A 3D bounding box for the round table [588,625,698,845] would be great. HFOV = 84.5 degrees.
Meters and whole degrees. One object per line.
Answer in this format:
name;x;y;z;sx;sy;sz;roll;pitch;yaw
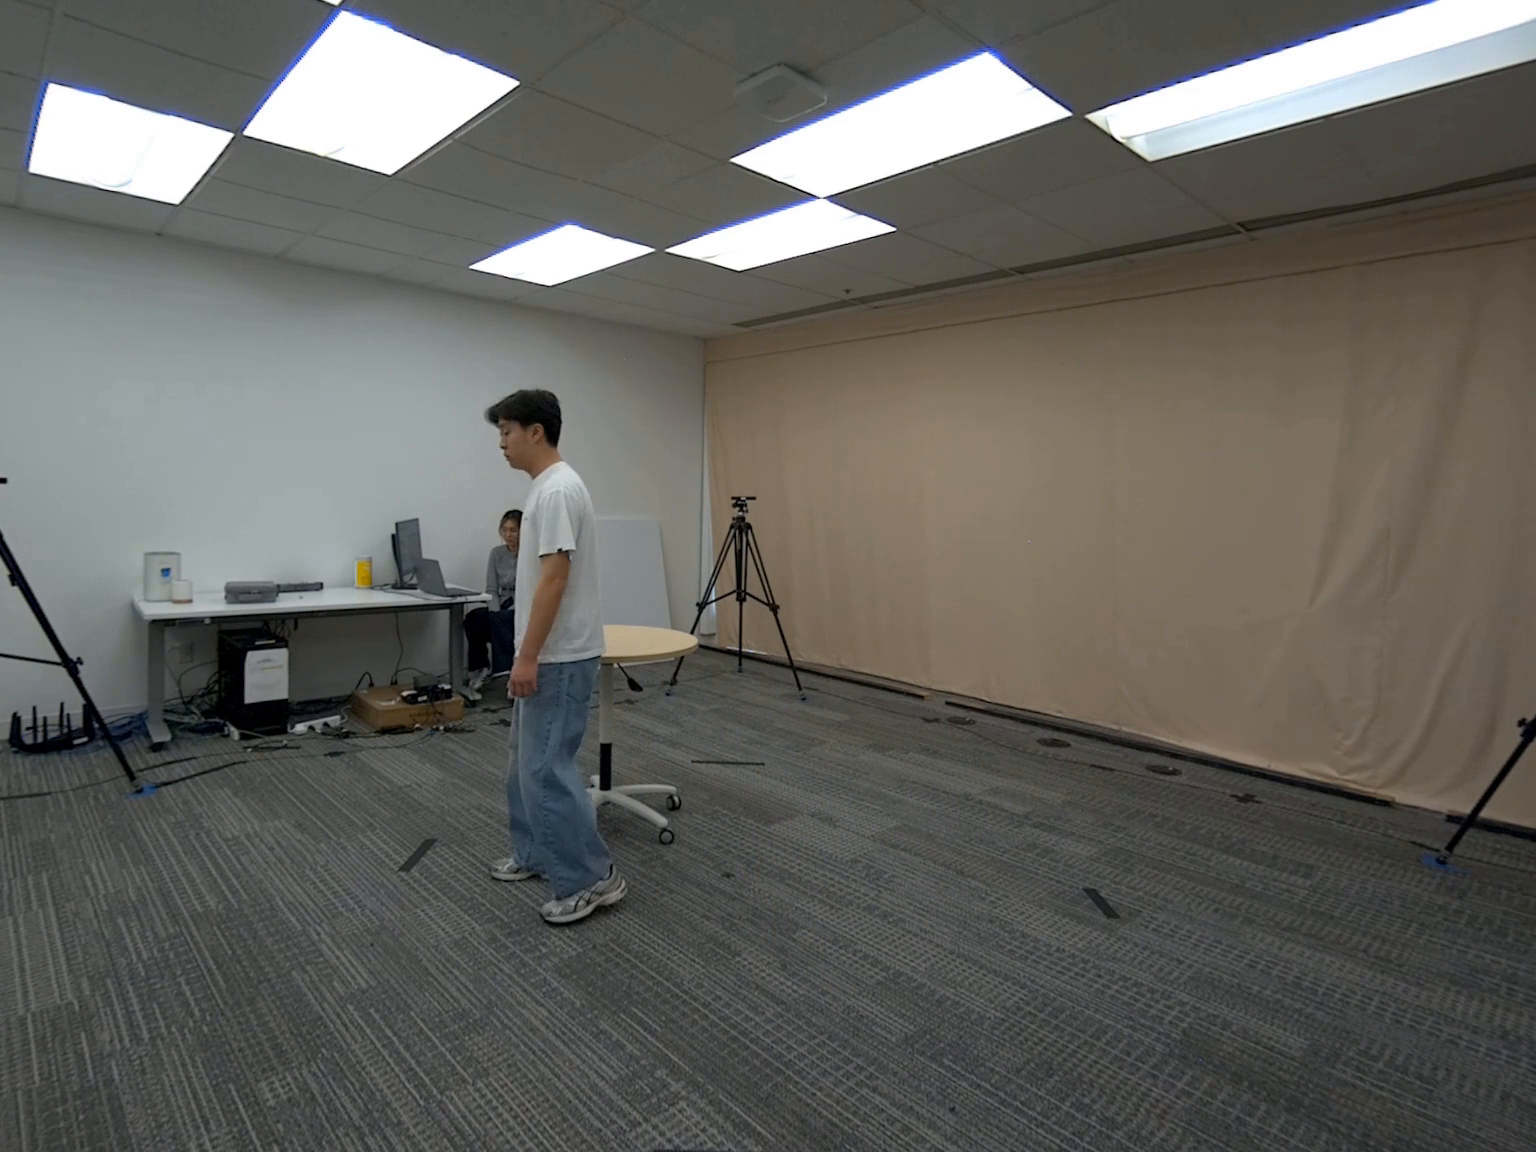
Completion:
round table;-0.694;0.663;3.569;0.763;0.792;0.766;1;4;-1
